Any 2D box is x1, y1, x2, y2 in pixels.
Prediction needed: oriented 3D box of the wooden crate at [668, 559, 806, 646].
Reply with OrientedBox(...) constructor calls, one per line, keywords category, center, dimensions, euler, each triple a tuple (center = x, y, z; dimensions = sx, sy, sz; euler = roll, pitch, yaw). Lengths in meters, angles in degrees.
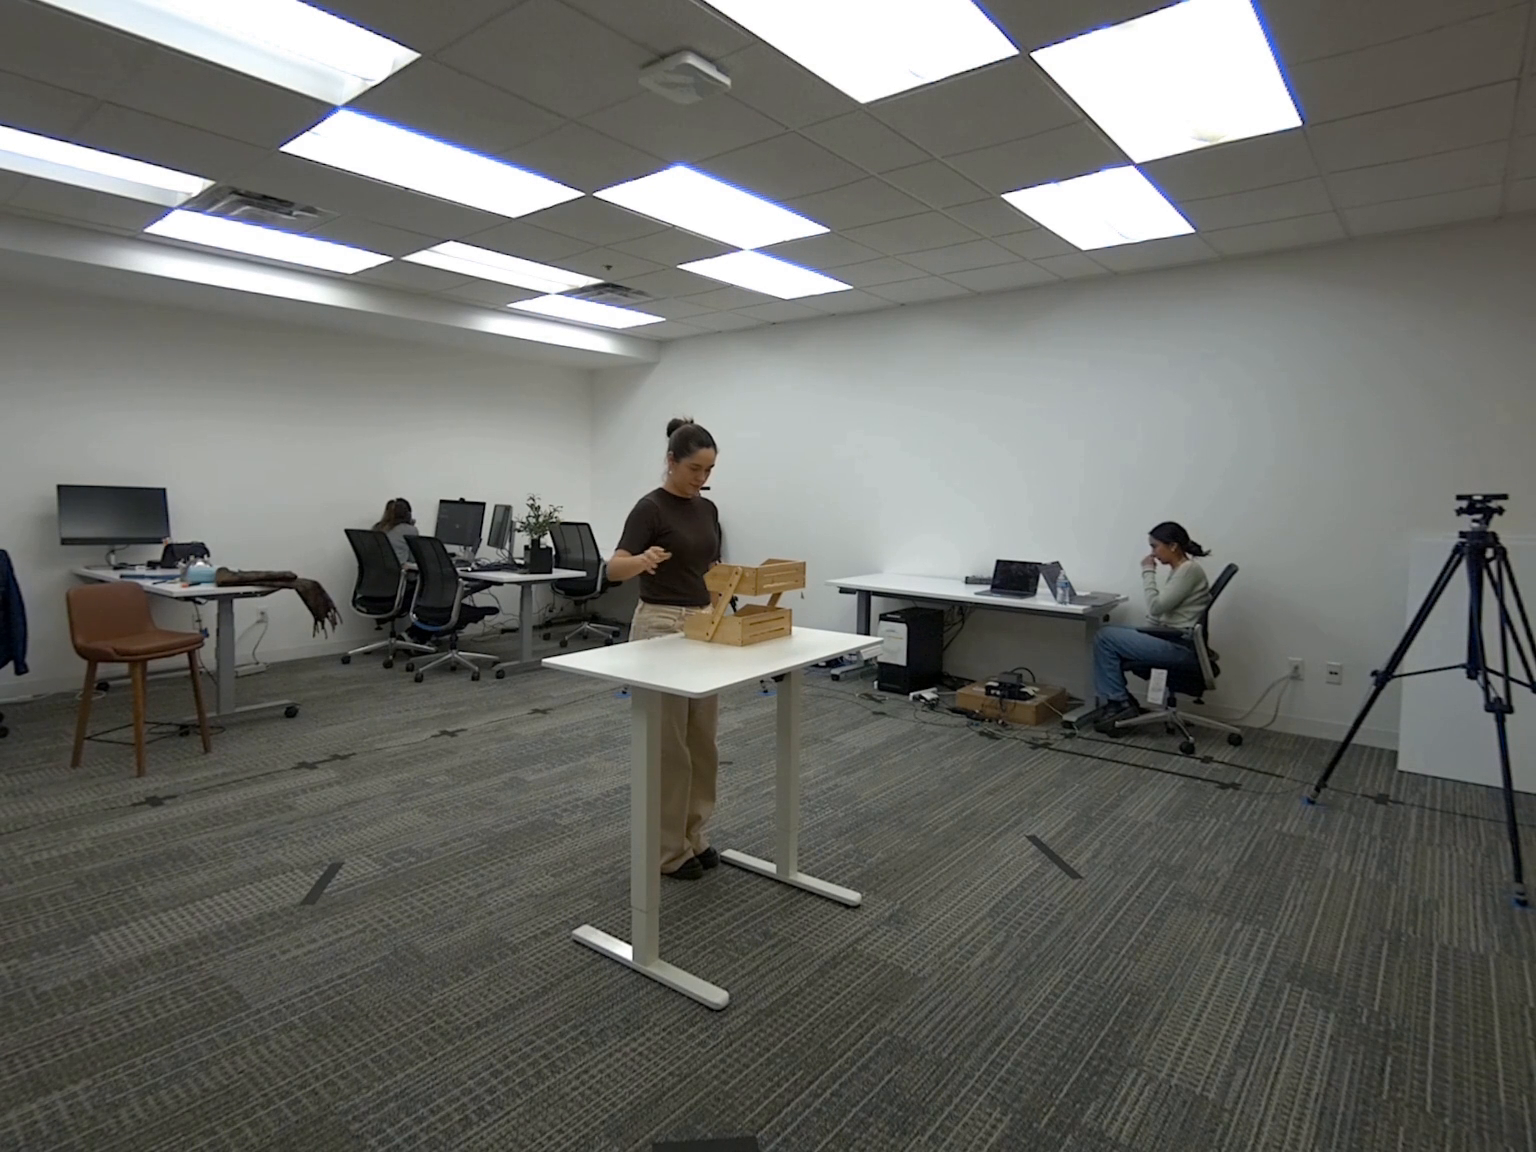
OrientedBox(category="wooden crate", center=(-0.092, 0.071, 2.885), dimensions=(0.312, 0.272, 0.315), euler=(5, 7, 35))
